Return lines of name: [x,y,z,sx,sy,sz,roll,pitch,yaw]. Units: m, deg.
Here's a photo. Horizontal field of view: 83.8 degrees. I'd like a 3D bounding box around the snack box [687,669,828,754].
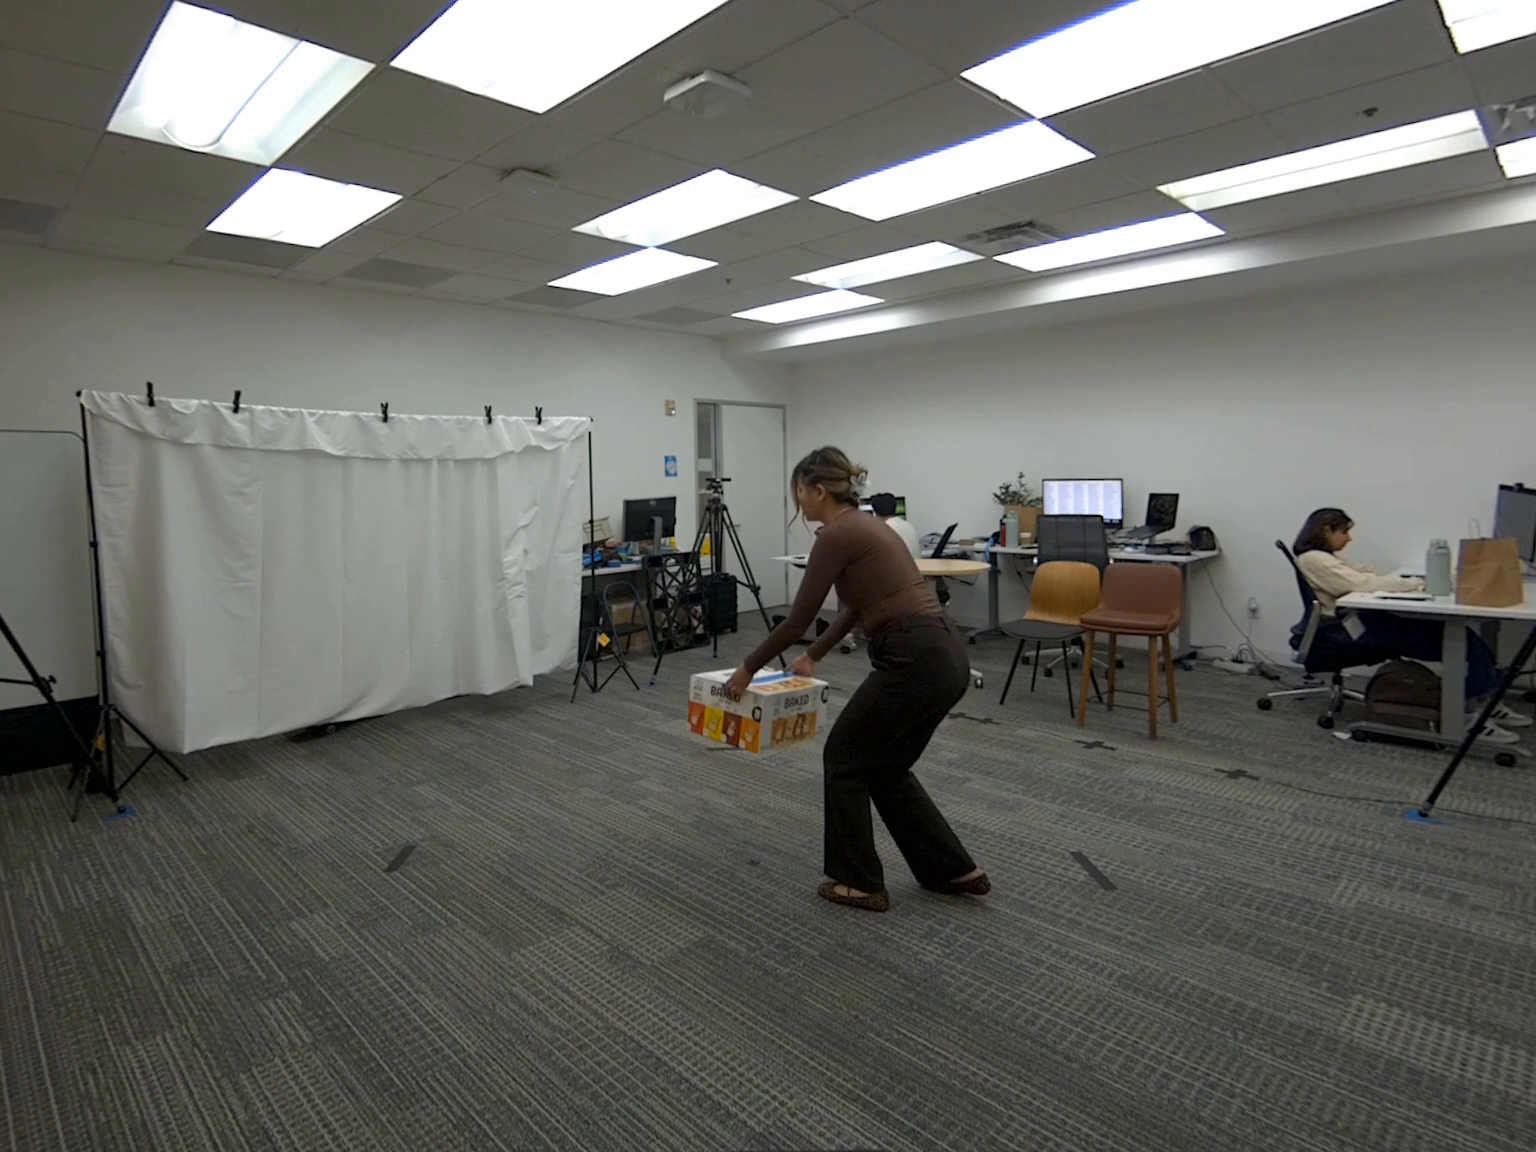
snack box: [-0.028,0.479,3.134,0.351,0.205,0.393,9,5,39]
